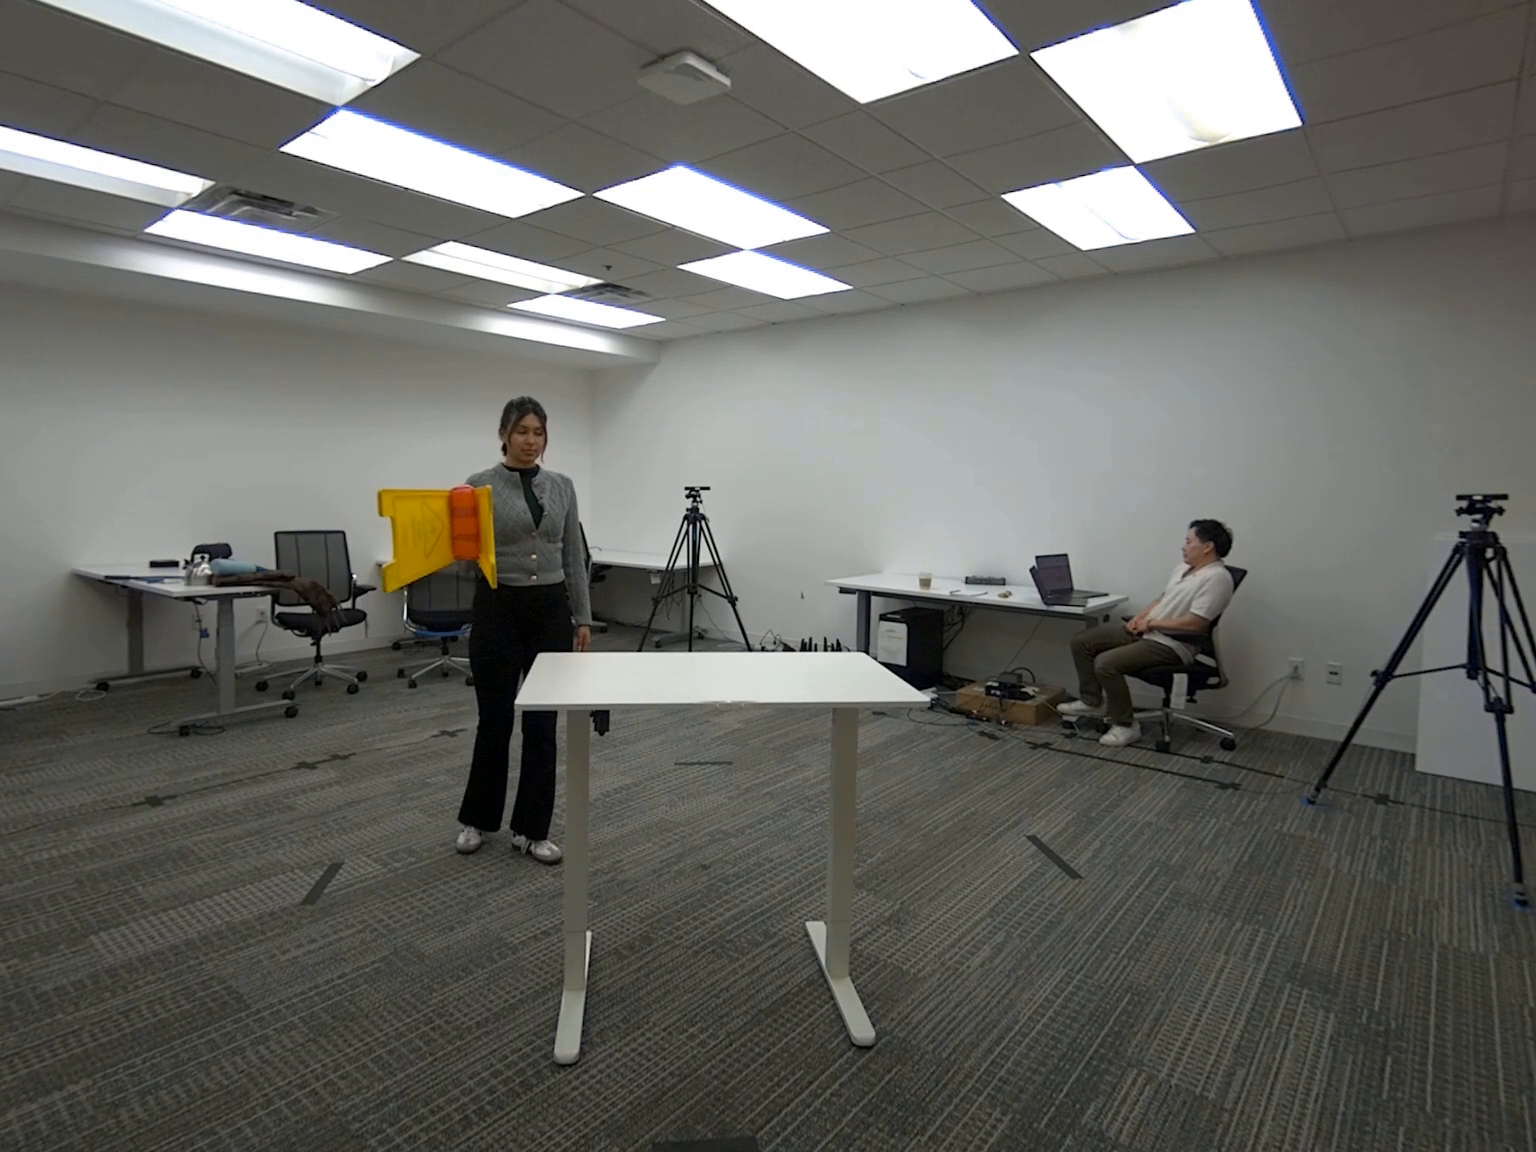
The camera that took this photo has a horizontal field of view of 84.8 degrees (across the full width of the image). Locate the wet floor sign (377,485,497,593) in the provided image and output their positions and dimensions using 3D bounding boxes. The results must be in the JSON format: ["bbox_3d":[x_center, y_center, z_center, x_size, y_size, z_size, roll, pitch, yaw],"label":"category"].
[{"bbox_3d":[-0.958,-0.143,2.581,0.287,0.280,0.657,-3,9,-11],"label":"wet floor sign"}]
